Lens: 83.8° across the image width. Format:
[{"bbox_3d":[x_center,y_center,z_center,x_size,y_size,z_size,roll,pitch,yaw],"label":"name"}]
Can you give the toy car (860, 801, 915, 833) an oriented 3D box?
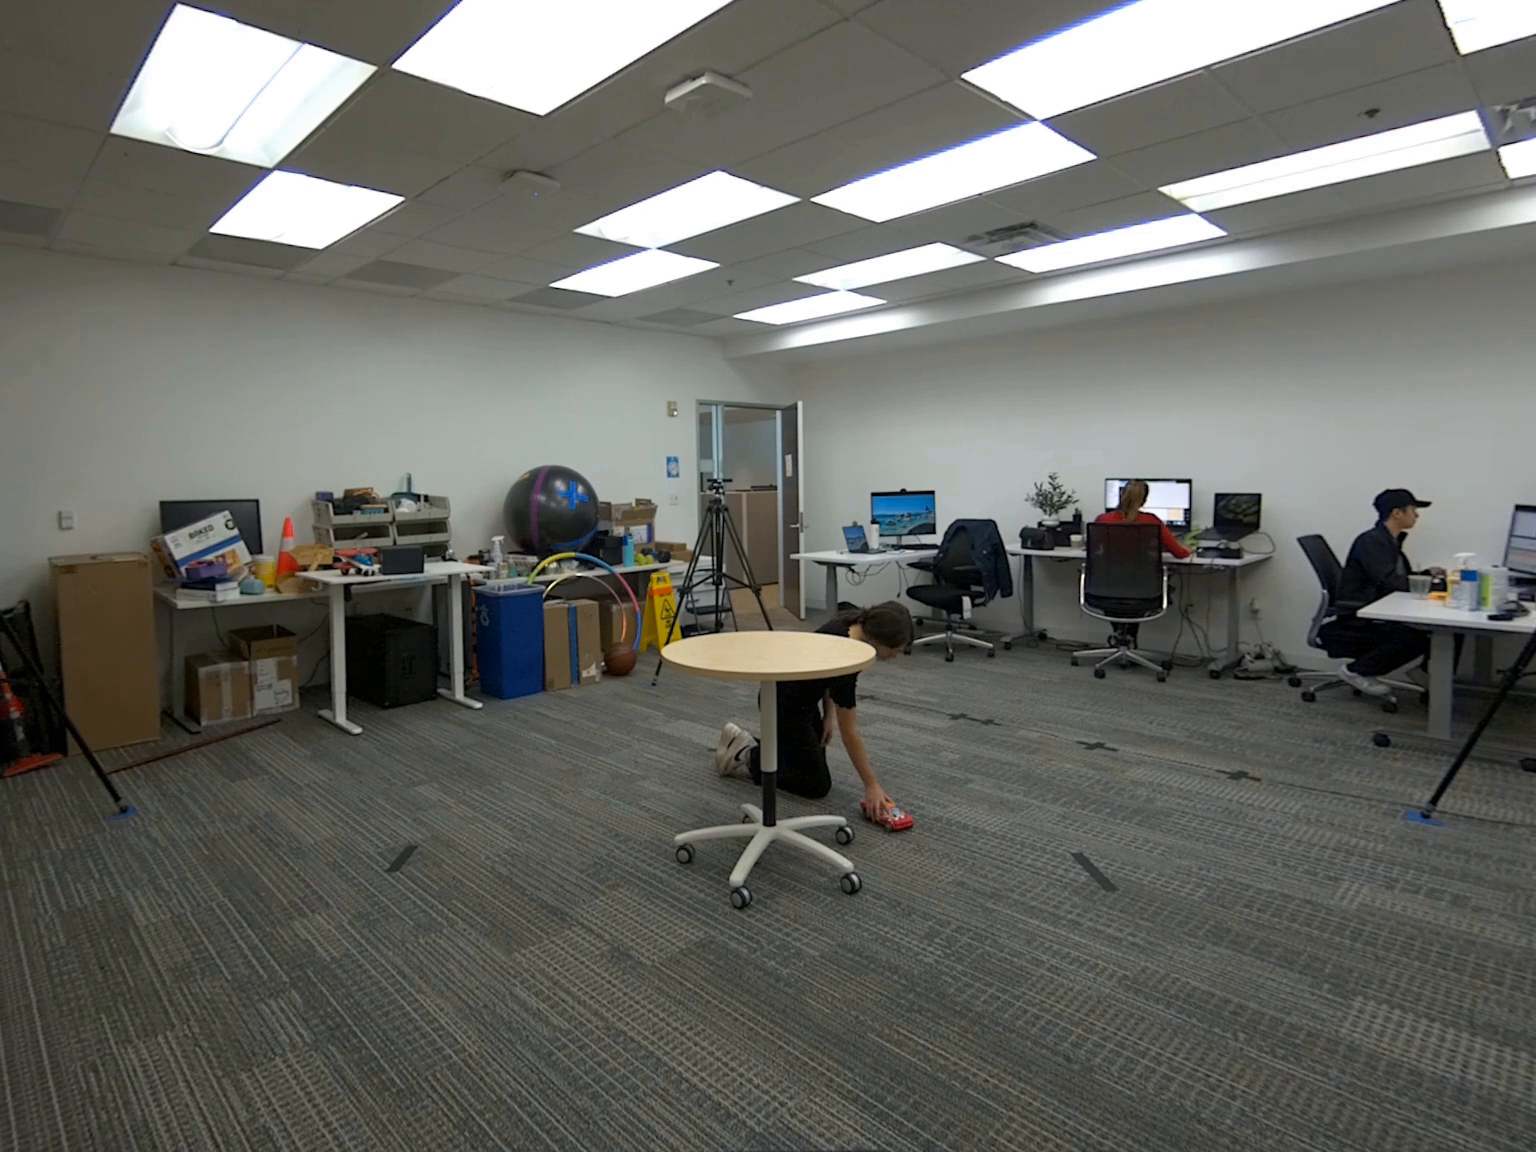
[{"bbox_3d":[0.474,0.964,3.476,0.127,0.082,0.263,-4,17,-28],"label":"toy car"}]
